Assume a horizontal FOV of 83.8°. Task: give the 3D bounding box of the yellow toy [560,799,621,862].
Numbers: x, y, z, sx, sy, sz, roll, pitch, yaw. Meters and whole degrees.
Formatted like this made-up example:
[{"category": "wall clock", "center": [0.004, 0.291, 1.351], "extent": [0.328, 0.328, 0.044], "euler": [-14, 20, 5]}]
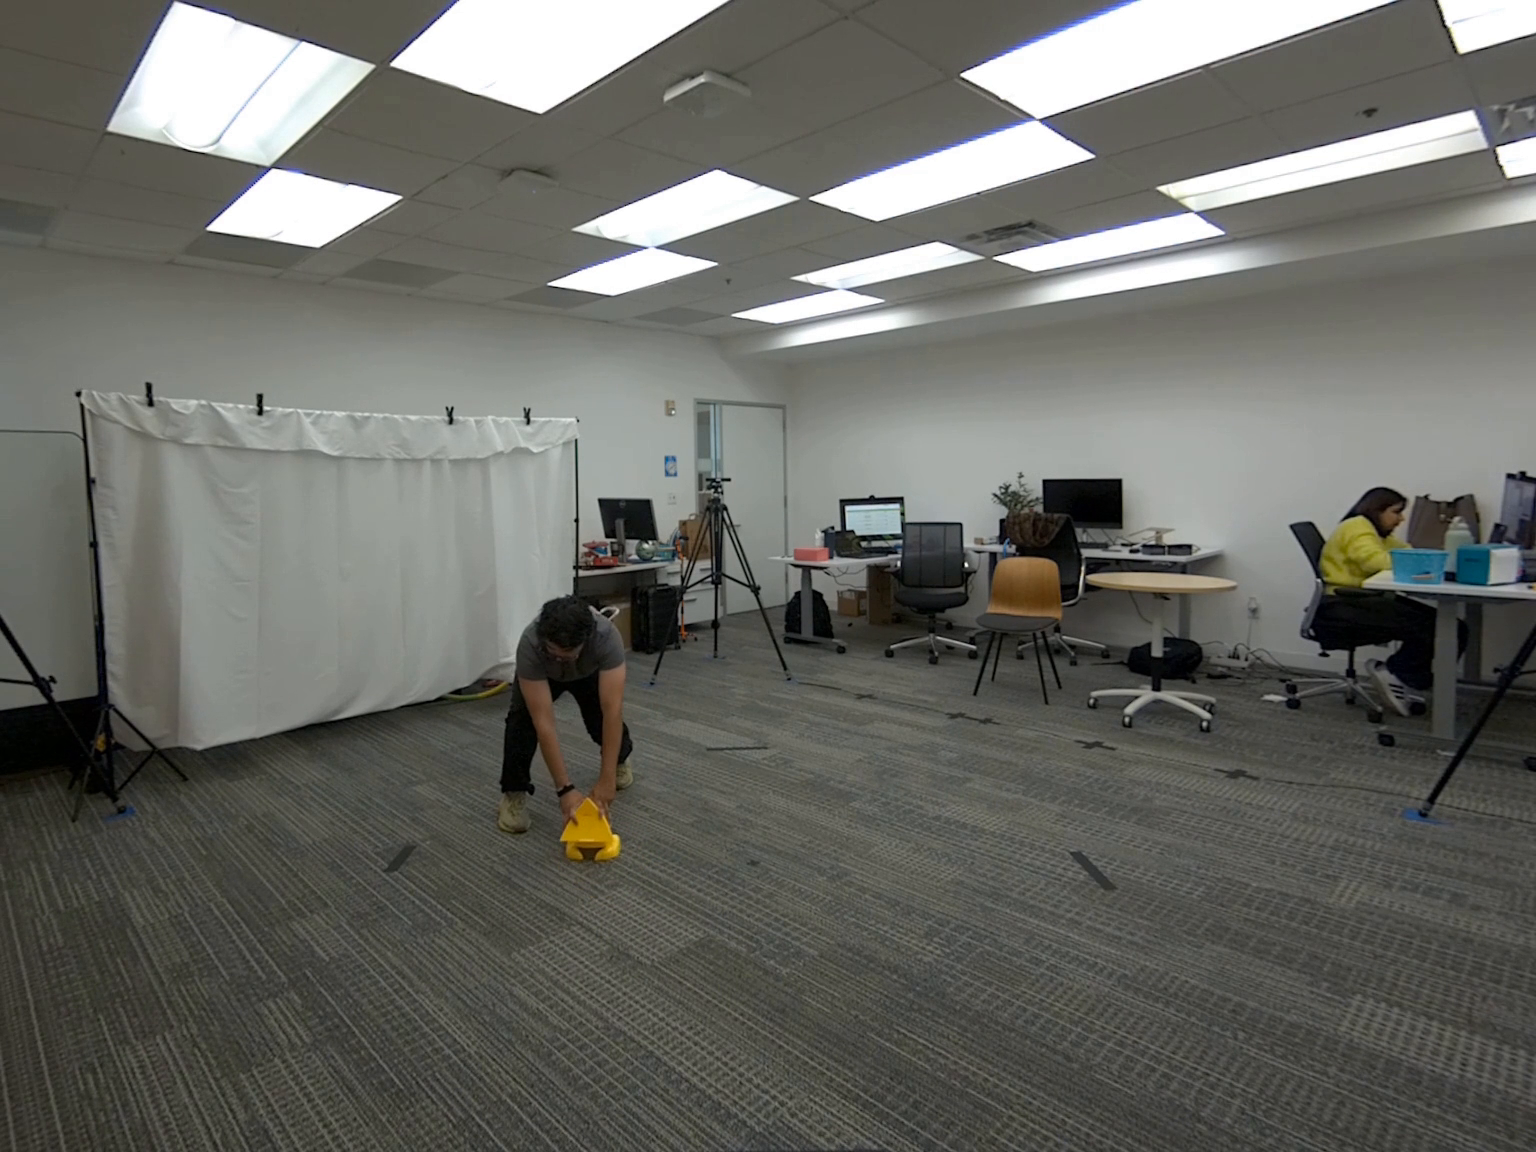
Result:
[{"category": "yellow toy", "center": [-0.658, 0.927, 3.224], "extent": [0.206, 0.230, 0.193], "euler": [-1, 5, 4]}]
